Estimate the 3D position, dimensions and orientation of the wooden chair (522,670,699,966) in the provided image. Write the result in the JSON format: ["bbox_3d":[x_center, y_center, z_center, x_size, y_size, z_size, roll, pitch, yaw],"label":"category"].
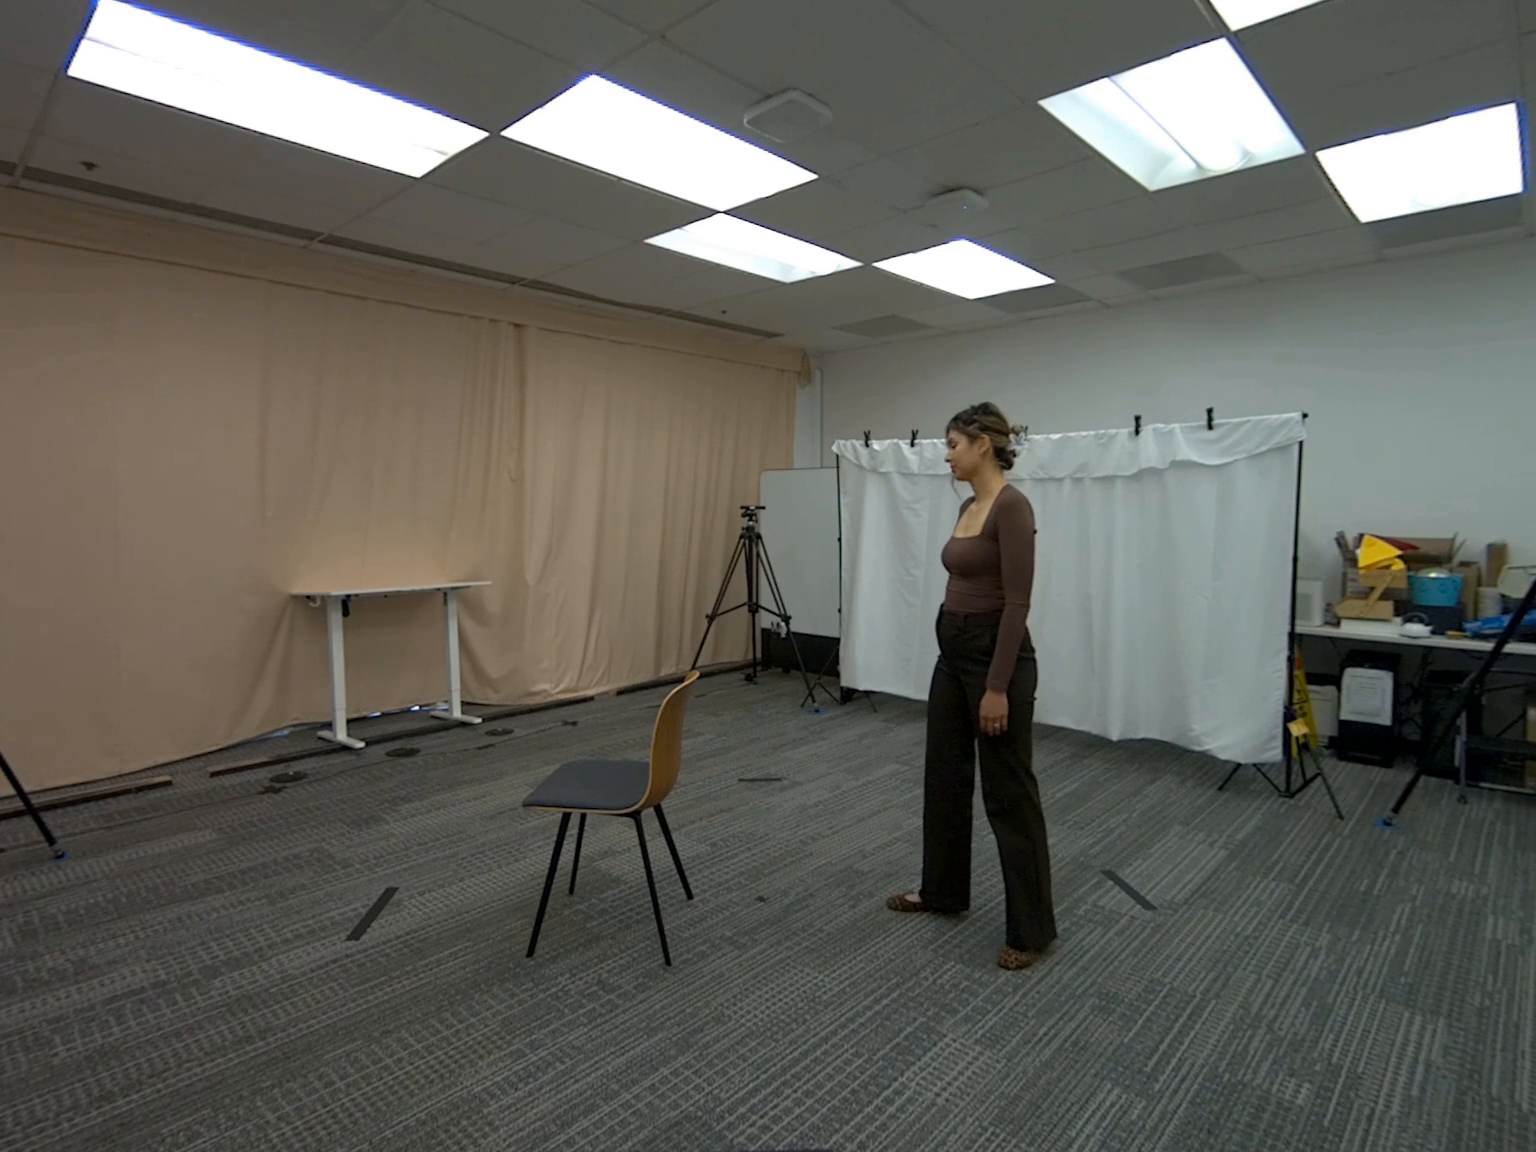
[{"bbox_3d":[-0.515,0.737,2.774,0.527,0.875,0.476,5,4,5],"label":"wooden chair"}]
